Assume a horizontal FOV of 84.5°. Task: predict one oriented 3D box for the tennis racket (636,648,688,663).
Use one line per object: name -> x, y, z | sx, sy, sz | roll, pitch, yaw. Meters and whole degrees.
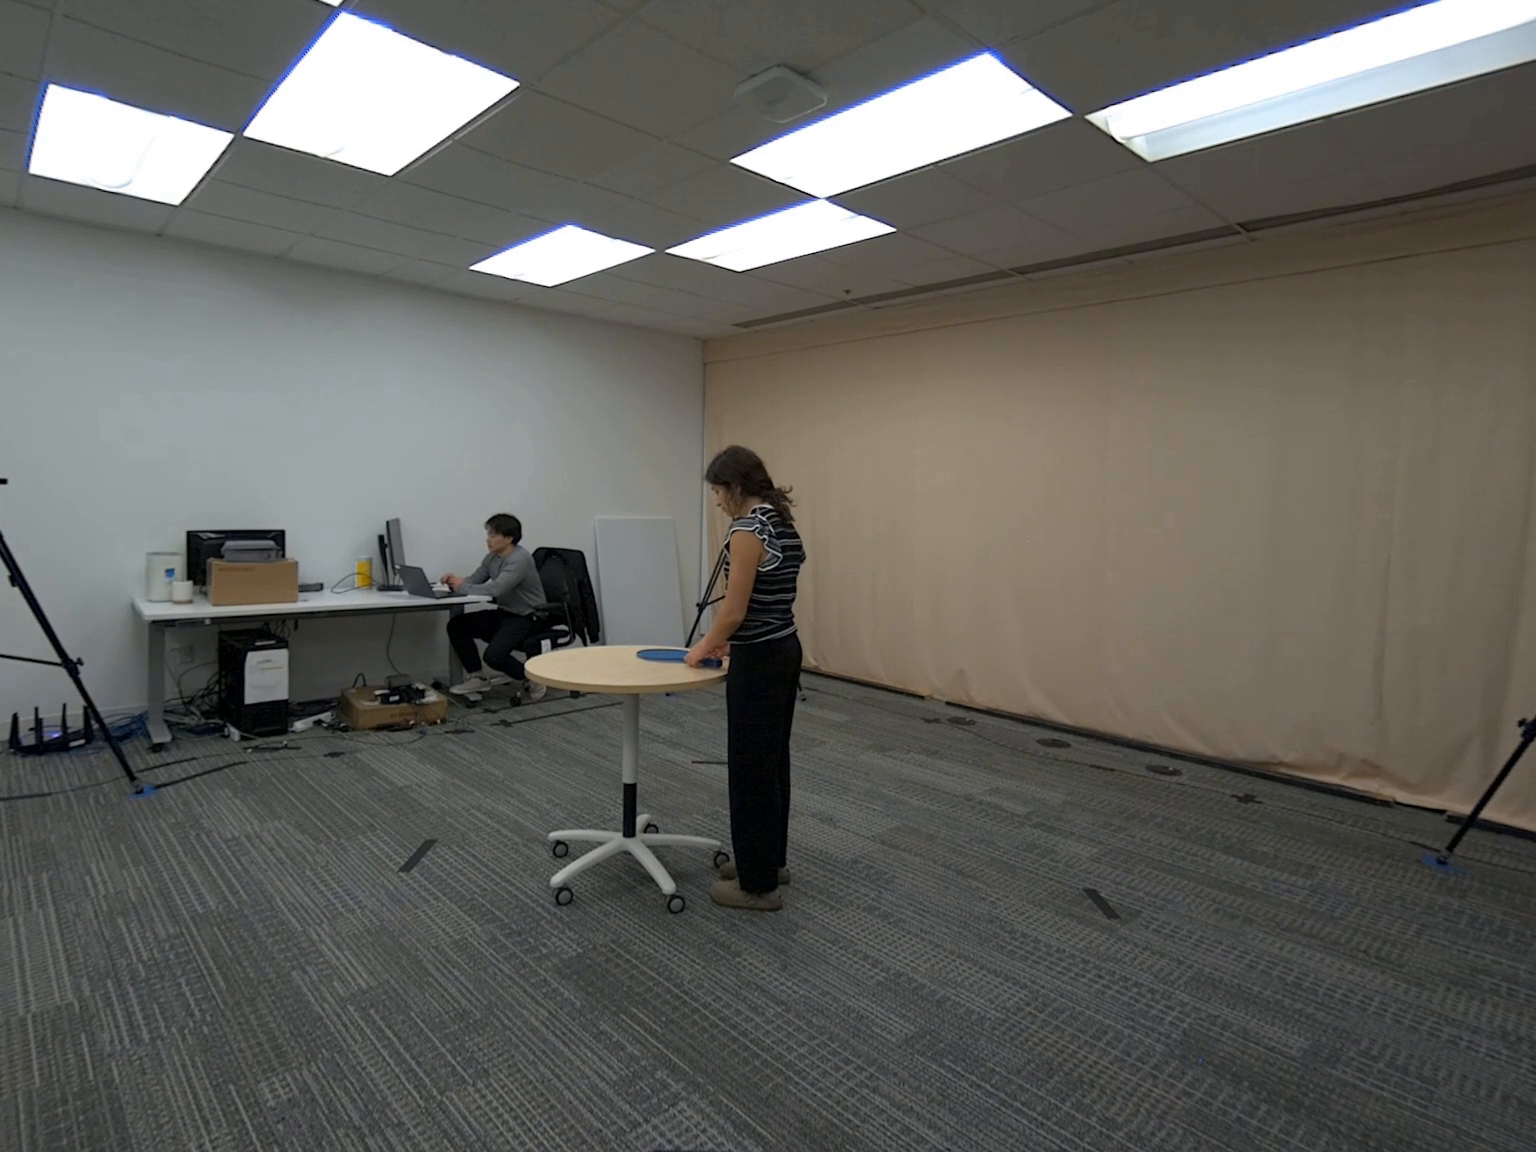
tennis racket -> -0.330, 0.304, 3.149 | 0.209, 0.032, 0.444 | -4, 6, -44
